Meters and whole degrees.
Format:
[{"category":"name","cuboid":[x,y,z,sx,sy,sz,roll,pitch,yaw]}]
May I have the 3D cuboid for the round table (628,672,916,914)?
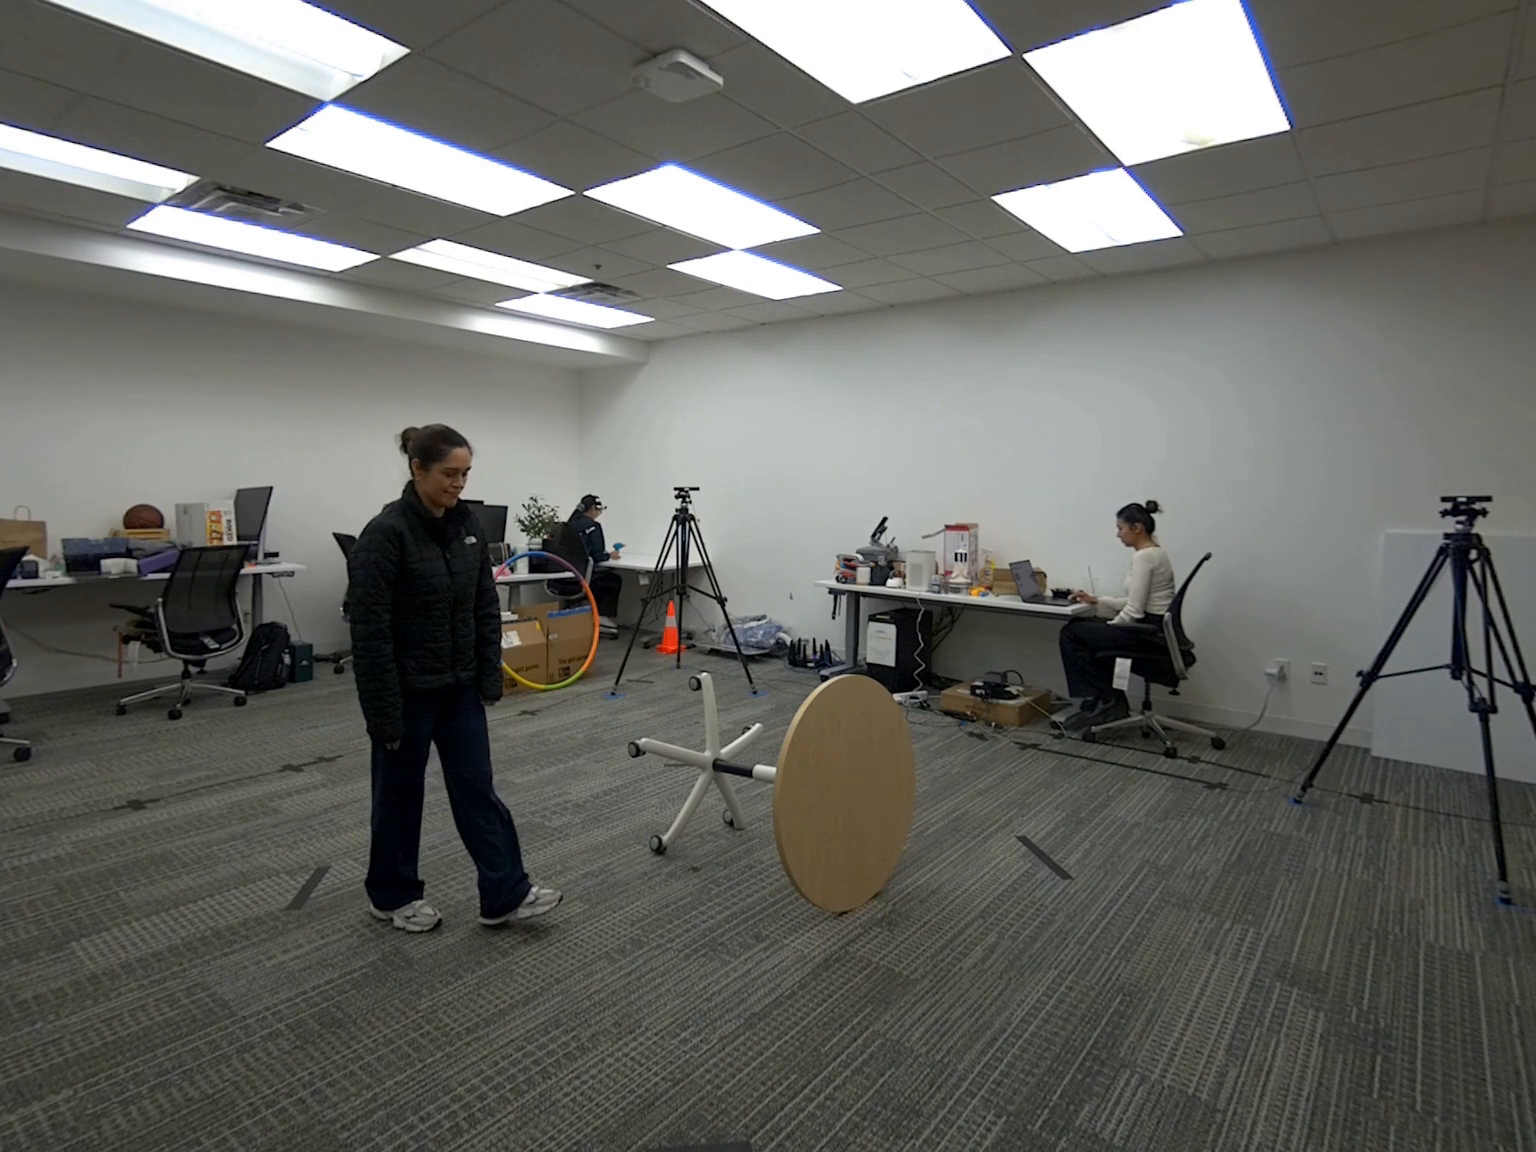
[{"category":"round table","cuboid":[0.008,0.729,3.157,0.810,0.785,0.761,-3,1,44]}]
